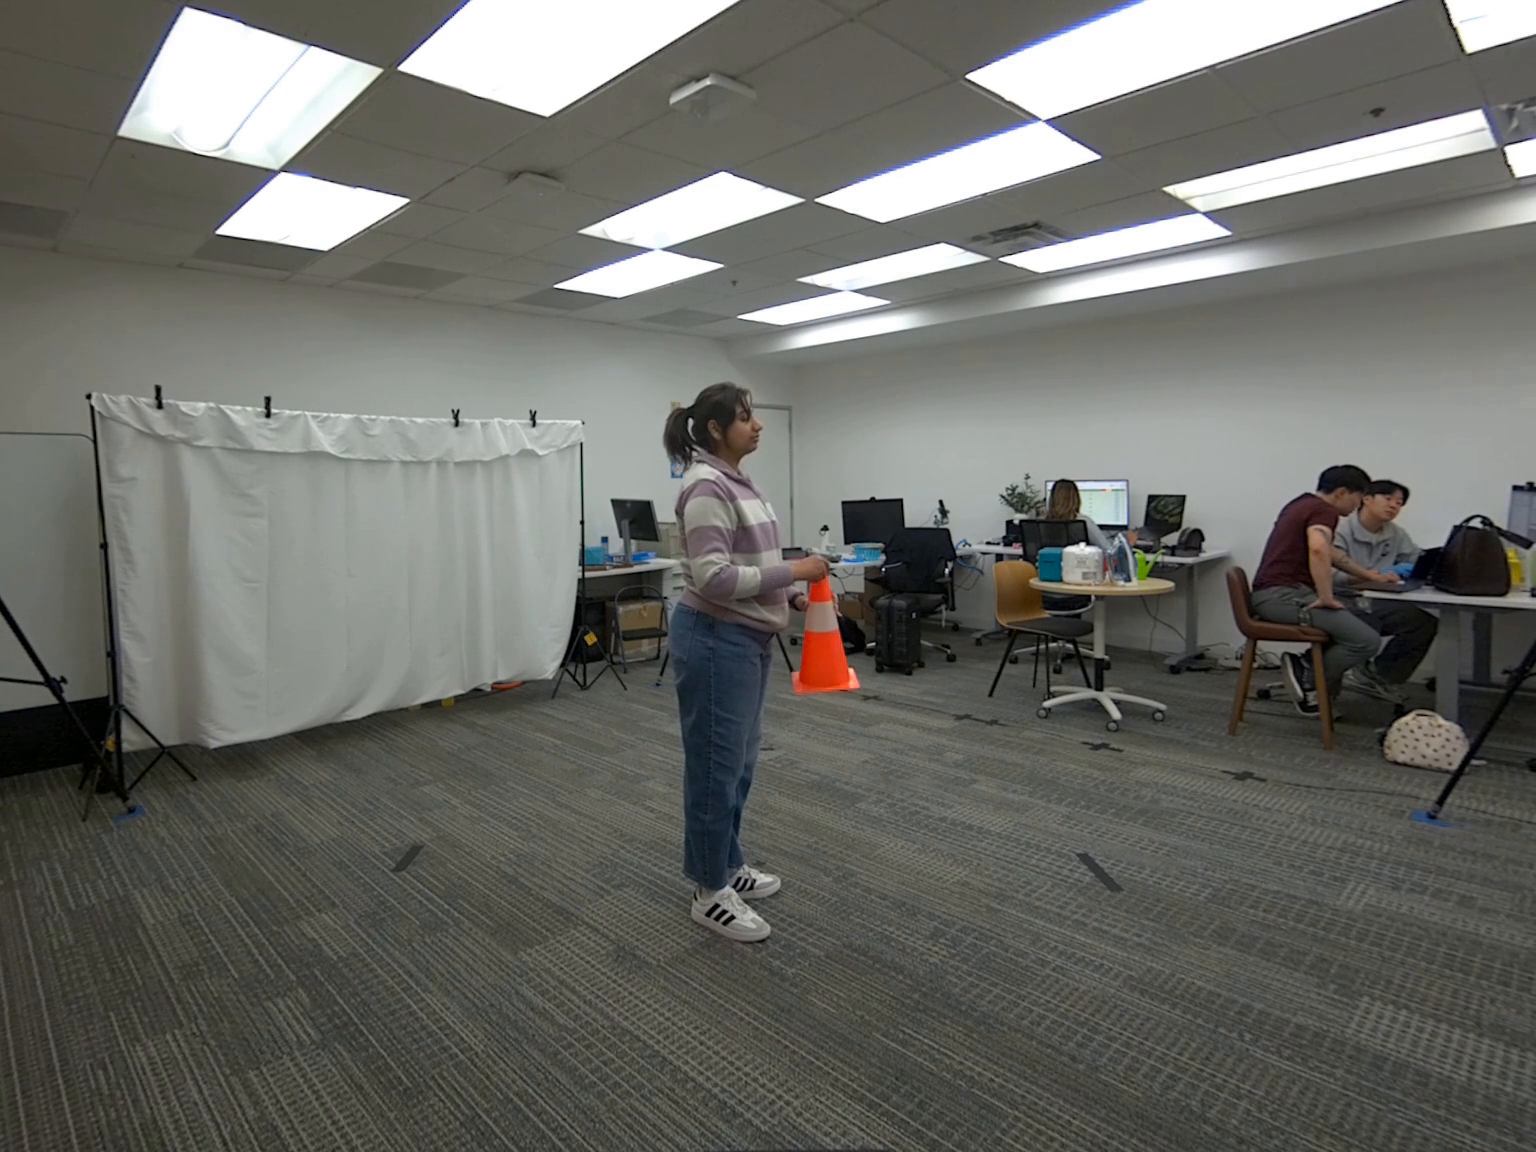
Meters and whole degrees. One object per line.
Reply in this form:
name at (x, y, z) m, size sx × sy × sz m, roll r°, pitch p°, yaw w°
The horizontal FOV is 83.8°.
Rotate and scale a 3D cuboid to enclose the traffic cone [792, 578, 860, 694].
traffic cone at (0.163, 0.139, 2.627) m, size 0.203 × 0.381 × 0.206 m, roll -2°, pitch 7°, yaw 0°
